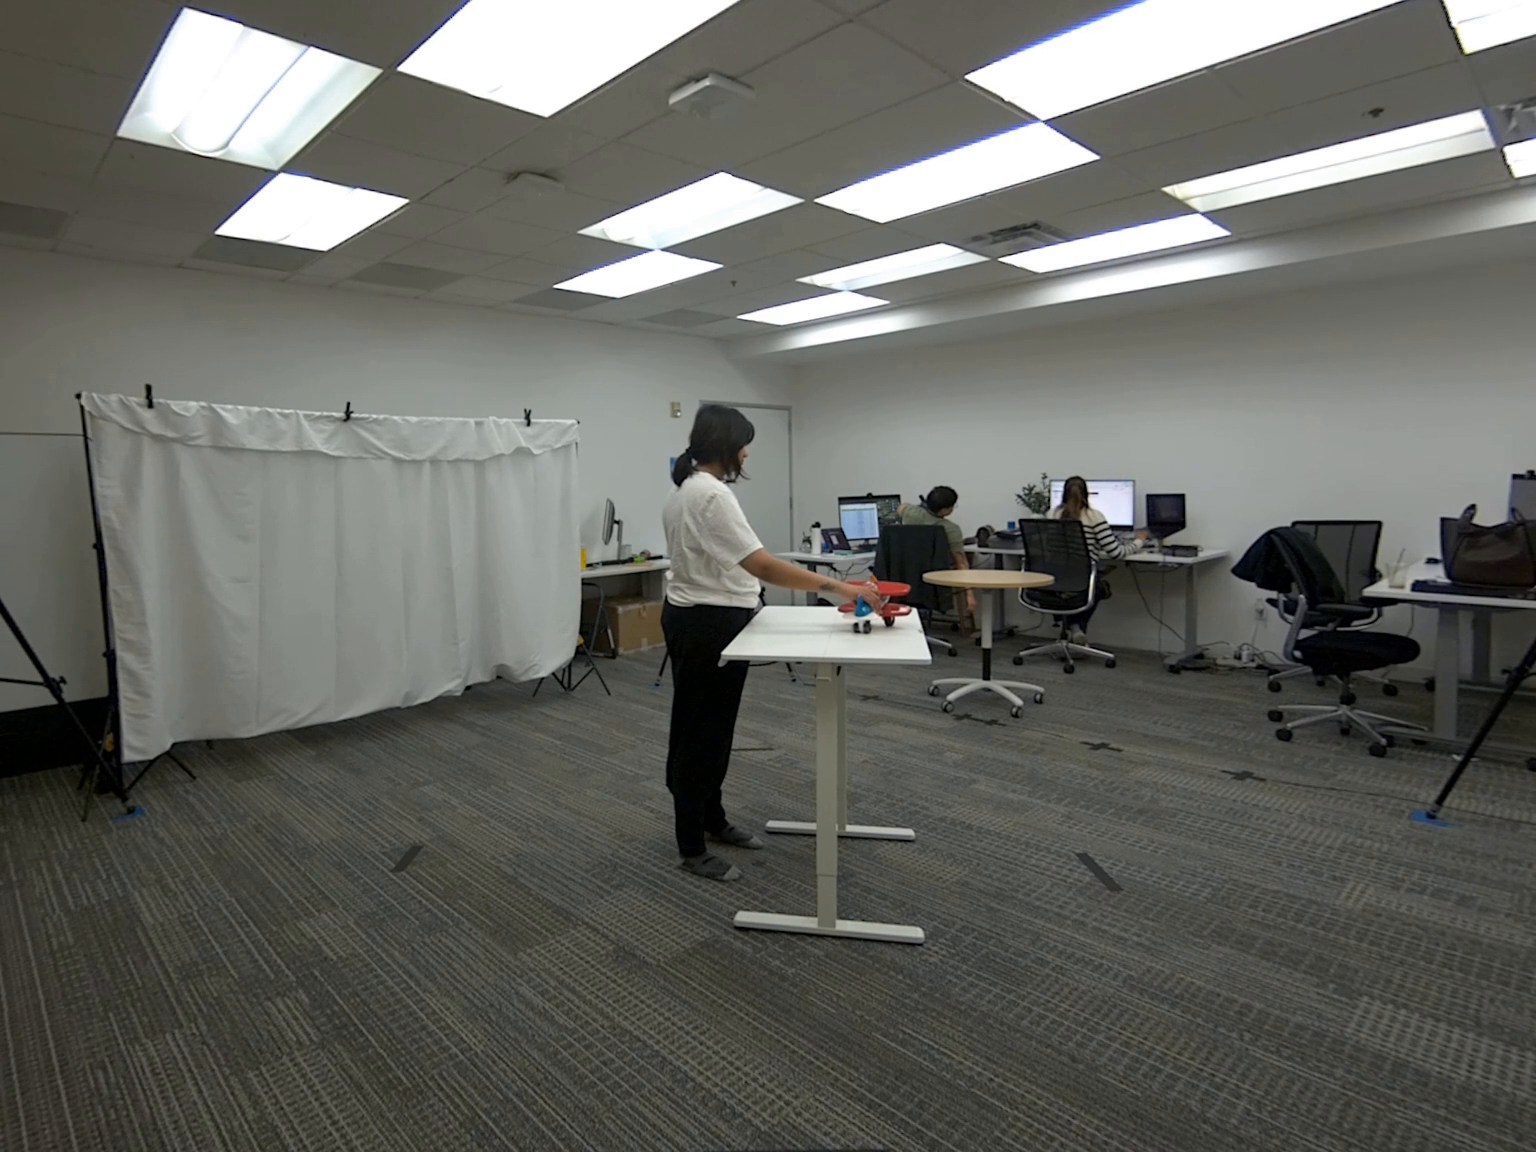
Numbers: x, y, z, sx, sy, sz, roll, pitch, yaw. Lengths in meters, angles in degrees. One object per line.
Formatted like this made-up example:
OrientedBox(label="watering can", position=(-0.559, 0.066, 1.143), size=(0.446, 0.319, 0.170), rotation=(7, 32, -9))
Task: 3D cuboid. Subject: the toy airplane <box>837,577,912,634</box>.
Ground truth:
OrientedBox(label="toy airplane", position=(0.369, 0.103, 2.898), size=(0.250, 0.156, 0.261), rotation=(0, 5, -3))
